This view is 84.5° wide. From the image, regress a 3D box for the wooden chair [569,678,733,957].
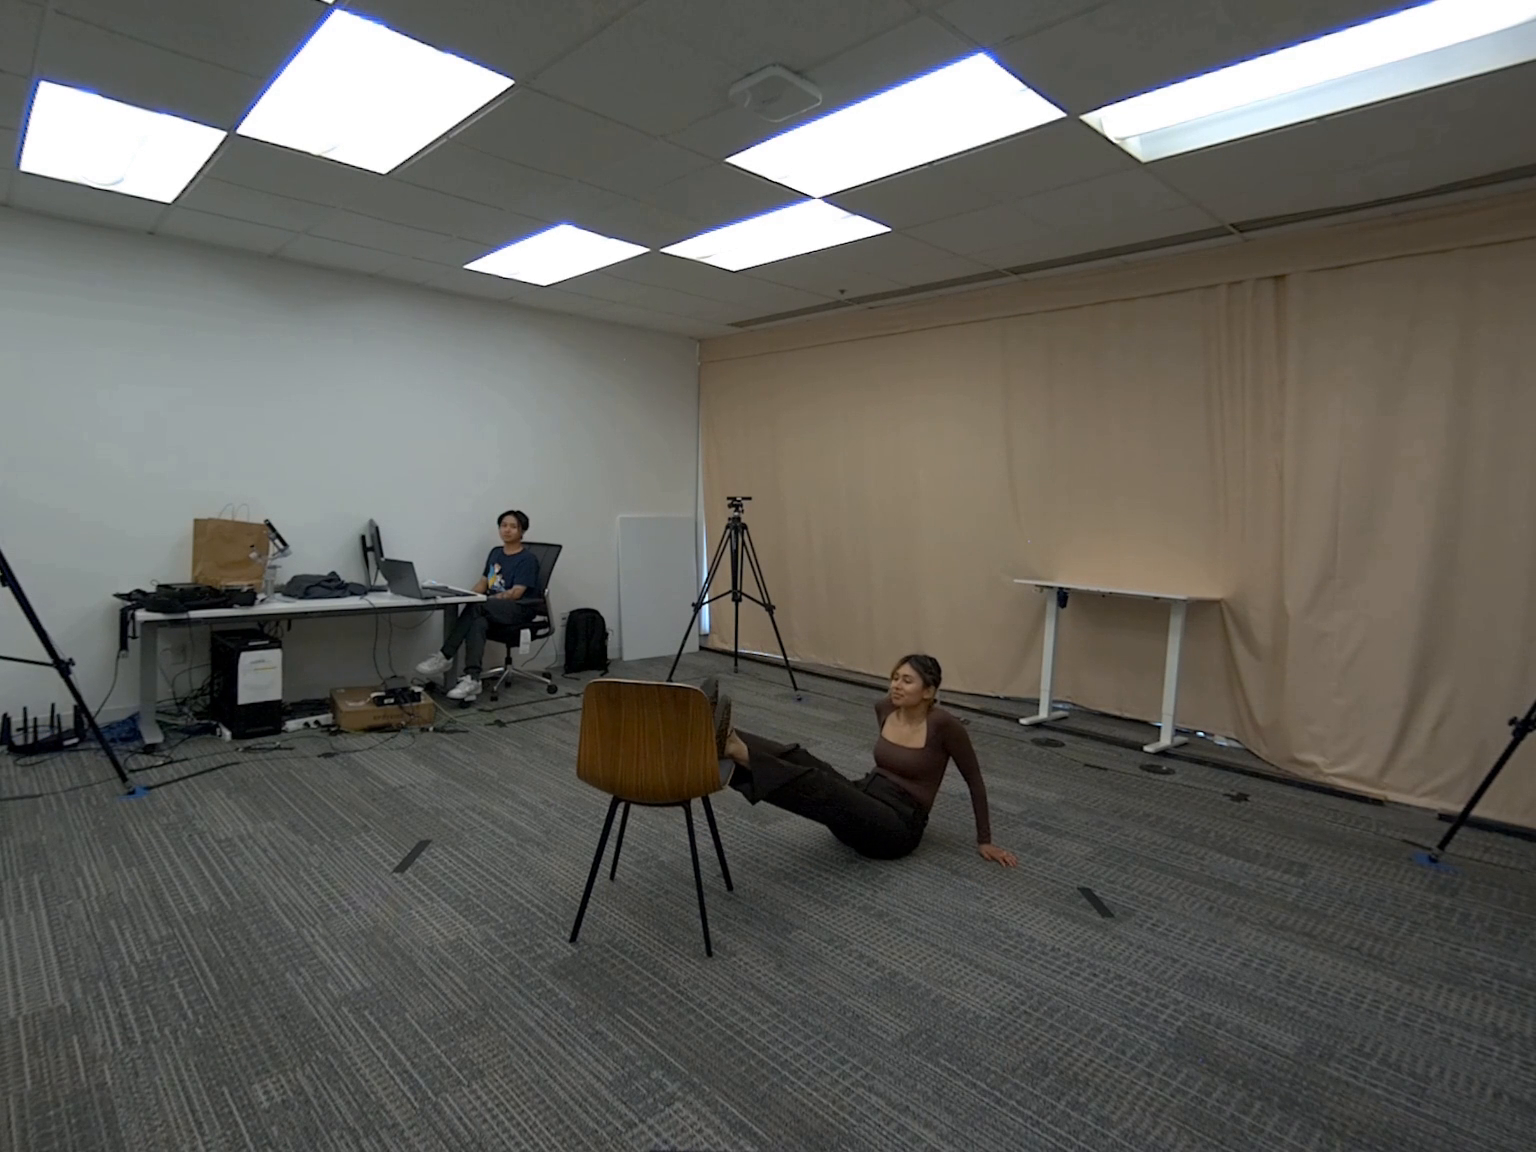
[{"bbox_3d":[-0.364,0.703,2.776,0.481,0.873,0.522,2,7,7],"label":"wooden chair"}]
